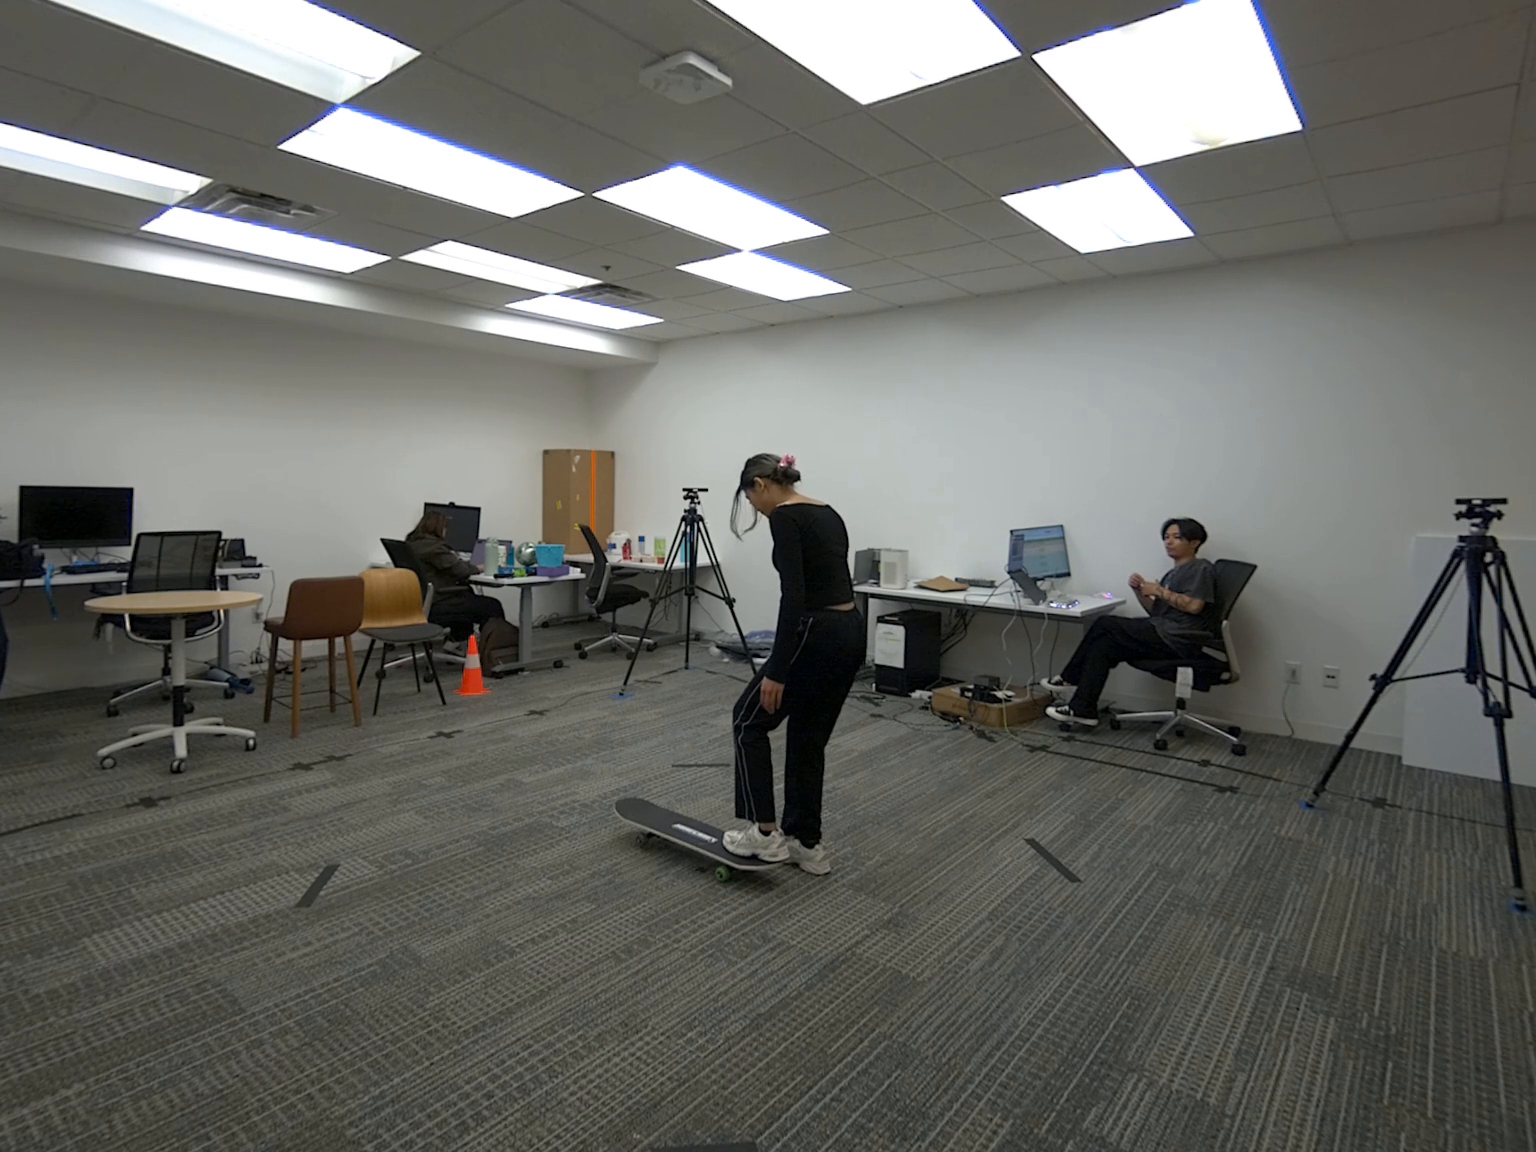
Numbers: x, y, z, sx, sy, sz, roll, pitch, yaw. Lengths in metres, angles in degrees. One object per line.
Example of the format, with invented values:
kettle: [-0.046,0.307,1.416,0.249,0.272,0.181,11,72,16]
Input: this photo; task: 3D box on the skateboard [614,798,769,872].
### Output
skateboard: [-0.284,0.997,3.200,0.813,0.110,0.188,10,9,37]
